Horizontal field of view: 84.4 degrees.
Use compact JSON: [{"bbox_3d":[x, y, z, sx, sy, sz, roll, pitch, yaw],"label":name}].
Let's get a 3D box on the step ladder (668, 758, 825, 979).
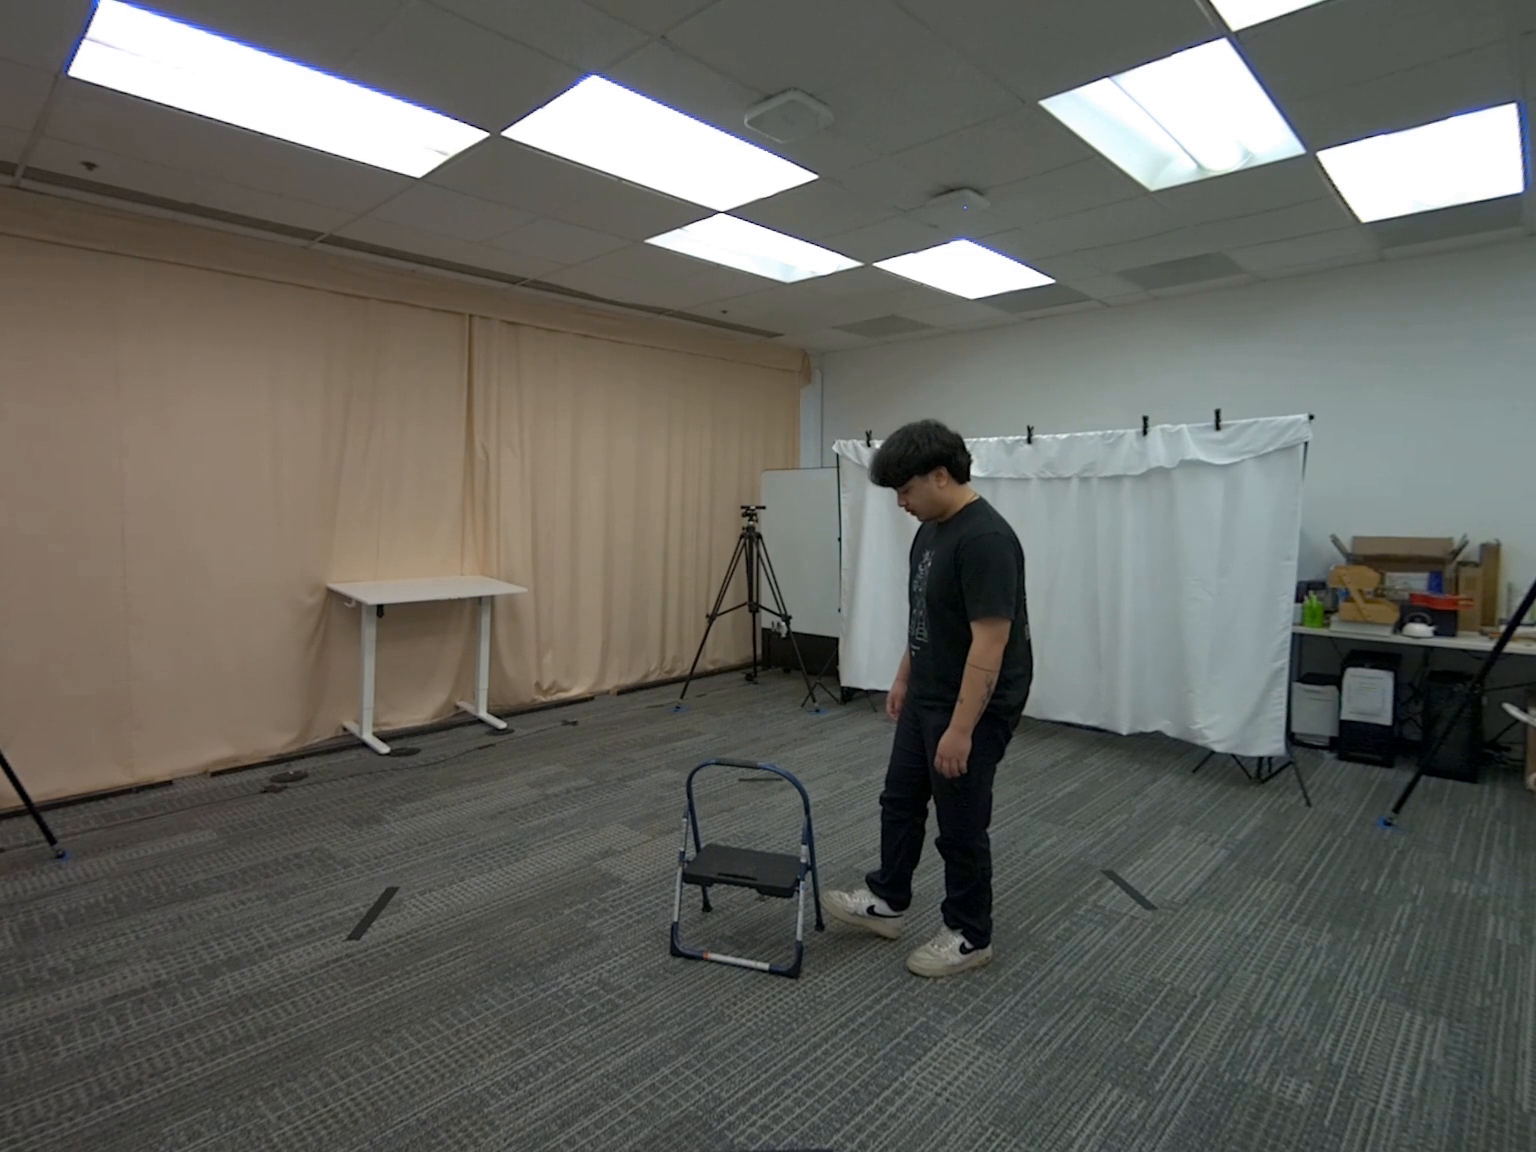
[{"bbox_3d":[-0.064,0.870,2.685,0.438,0.605,0.343,1,3,16],"label":"step ladder"}]
